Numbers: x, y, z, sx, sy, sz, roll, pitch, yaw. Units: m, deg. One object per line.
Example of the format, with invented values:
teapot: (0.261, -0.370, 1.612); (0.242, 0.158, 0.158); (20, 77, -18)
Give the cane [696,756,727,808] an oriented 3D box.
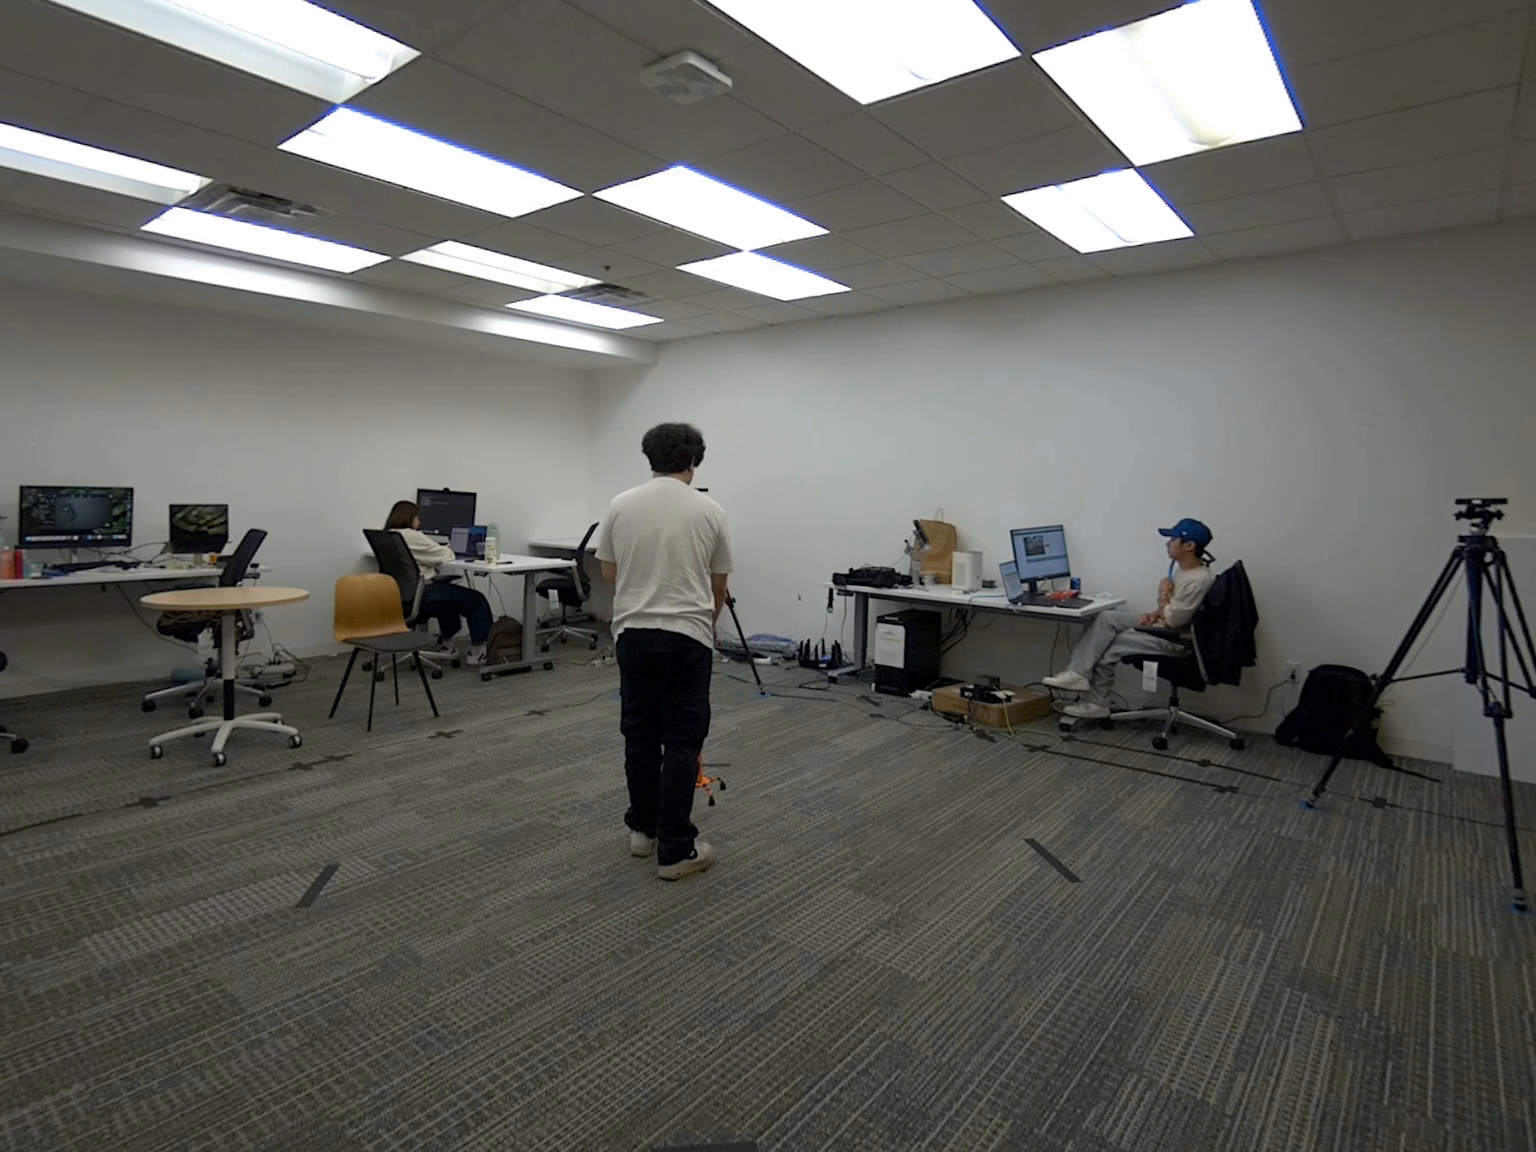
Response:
cane: (-0.286, 0.498, 3.612); (0.154, 0.904, 0.205); (1, 5, 11)
